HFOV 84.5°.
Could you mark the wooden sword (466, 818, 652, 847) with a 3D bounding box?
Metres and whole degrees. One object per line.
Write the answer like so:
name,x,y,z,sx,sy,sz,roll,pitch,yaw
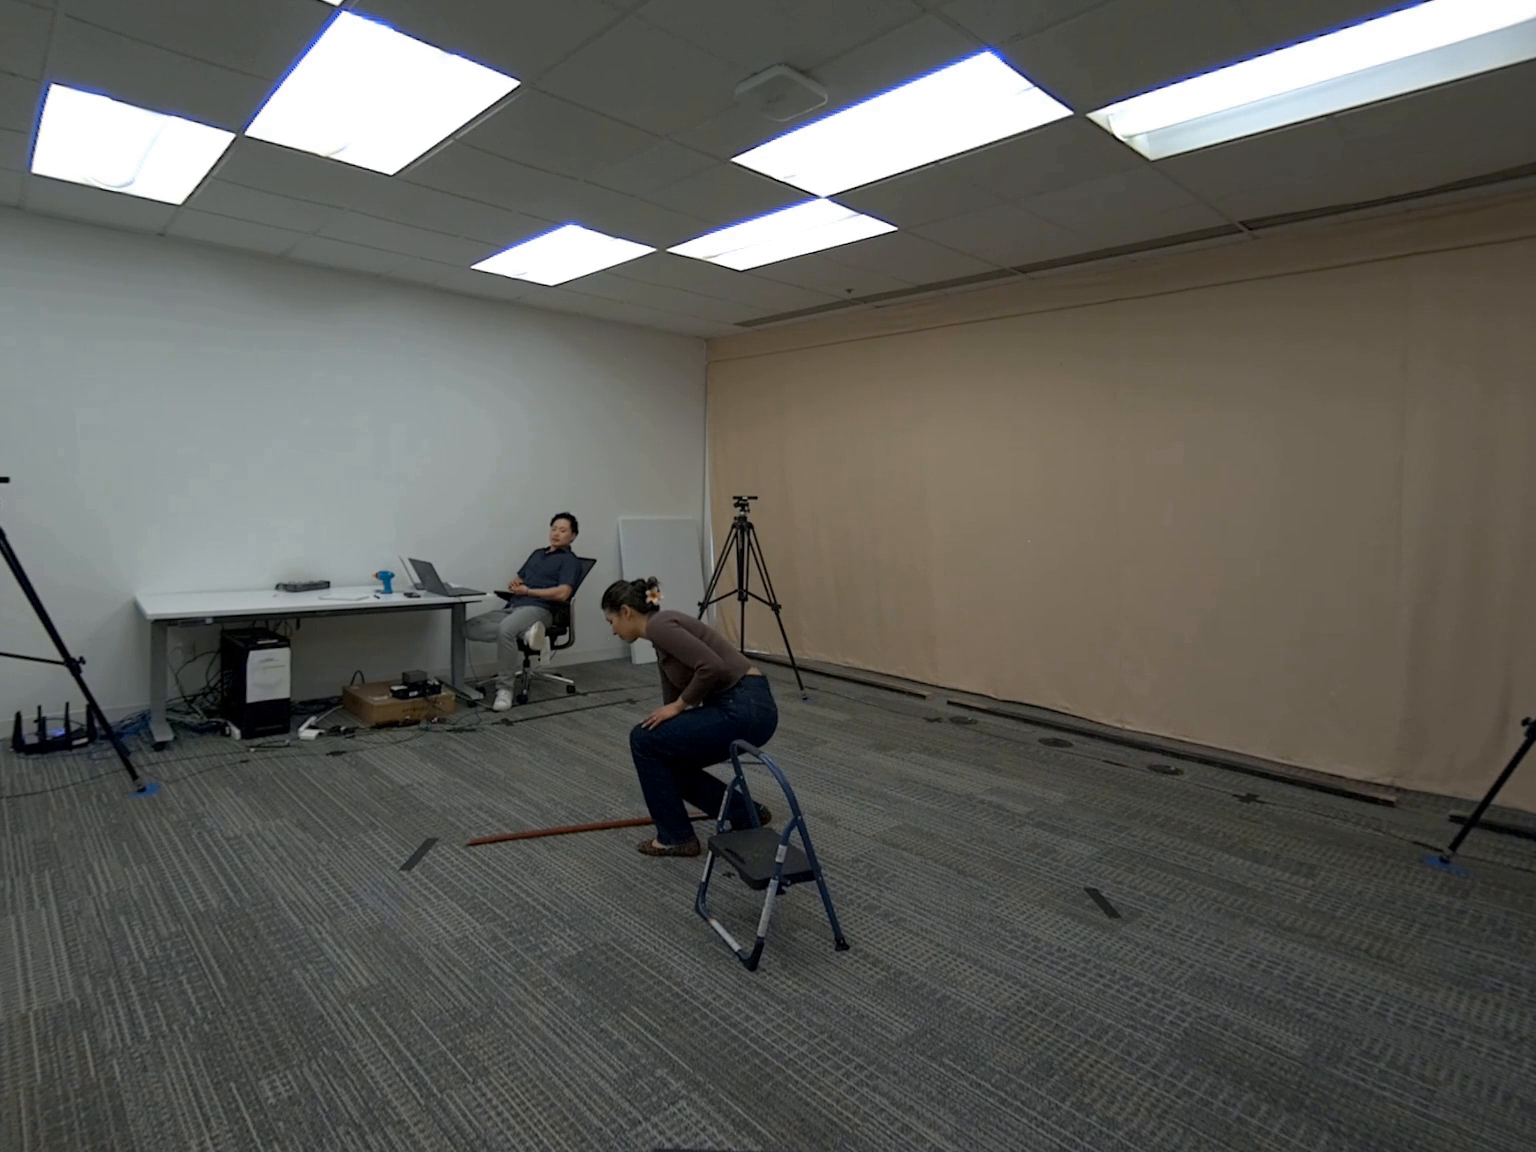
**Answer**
wooden sword,-0.718,1.033,3.486,1.010,0.024,0.053,-1,23,-19
